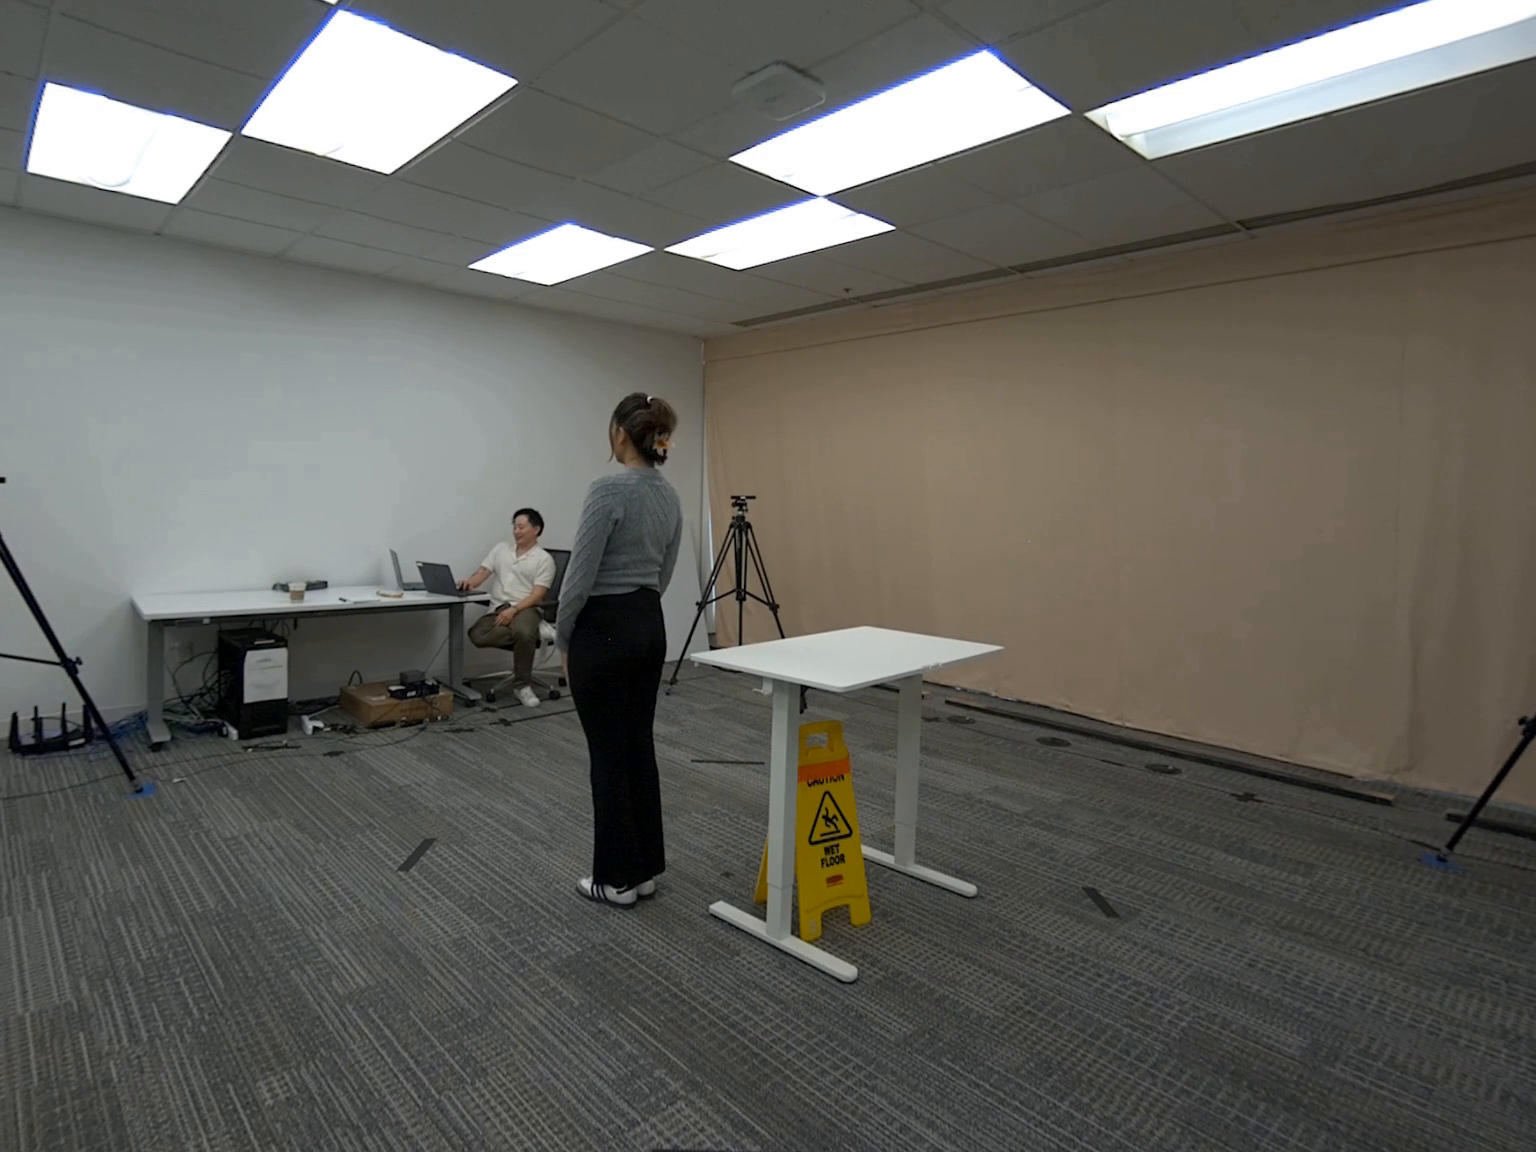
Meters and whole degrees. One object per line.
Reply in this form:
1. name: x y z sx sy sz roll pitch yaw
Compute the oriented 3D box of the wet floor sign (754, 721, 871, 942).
1. wet floor sign: 0.152 0.812 2.813 0.276 0.644 0.297 -1 5 -32
